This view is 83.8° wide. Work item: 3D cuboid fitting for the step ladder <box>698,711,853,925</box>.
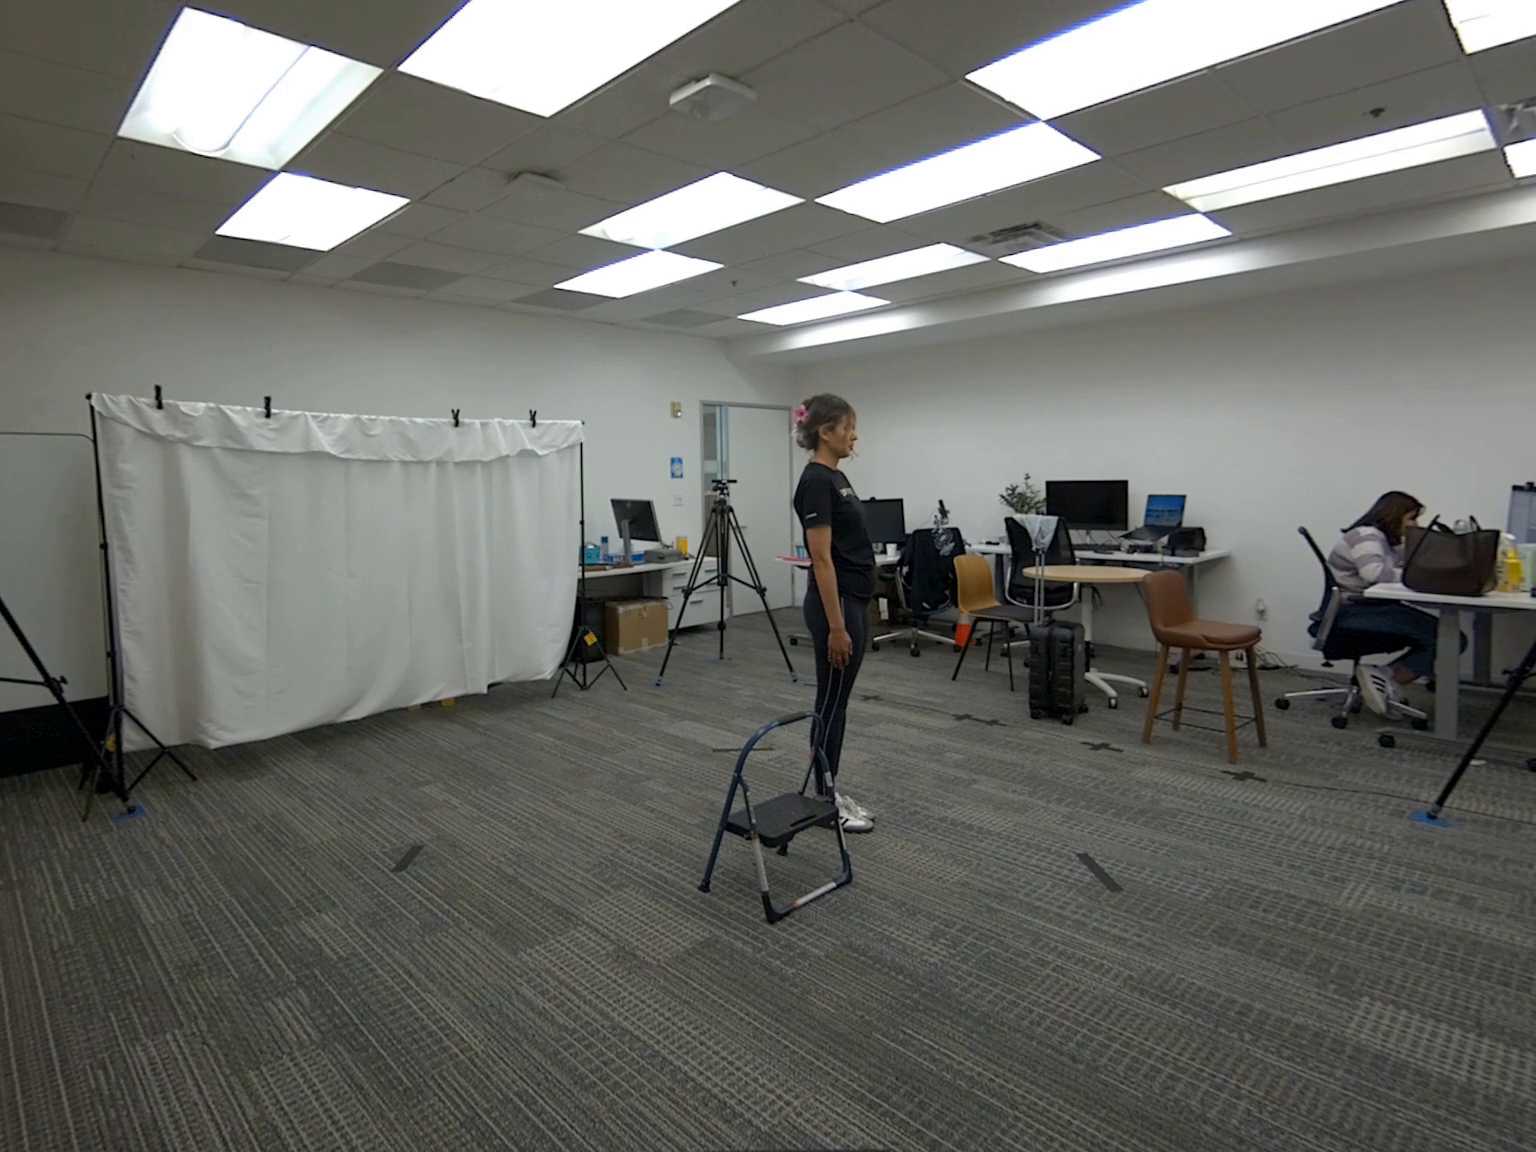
[{"bbox_3d":[0.026,0.763,2.923,0.360,0.604,0.419,3,6,44],"label":"step ladder"}]
